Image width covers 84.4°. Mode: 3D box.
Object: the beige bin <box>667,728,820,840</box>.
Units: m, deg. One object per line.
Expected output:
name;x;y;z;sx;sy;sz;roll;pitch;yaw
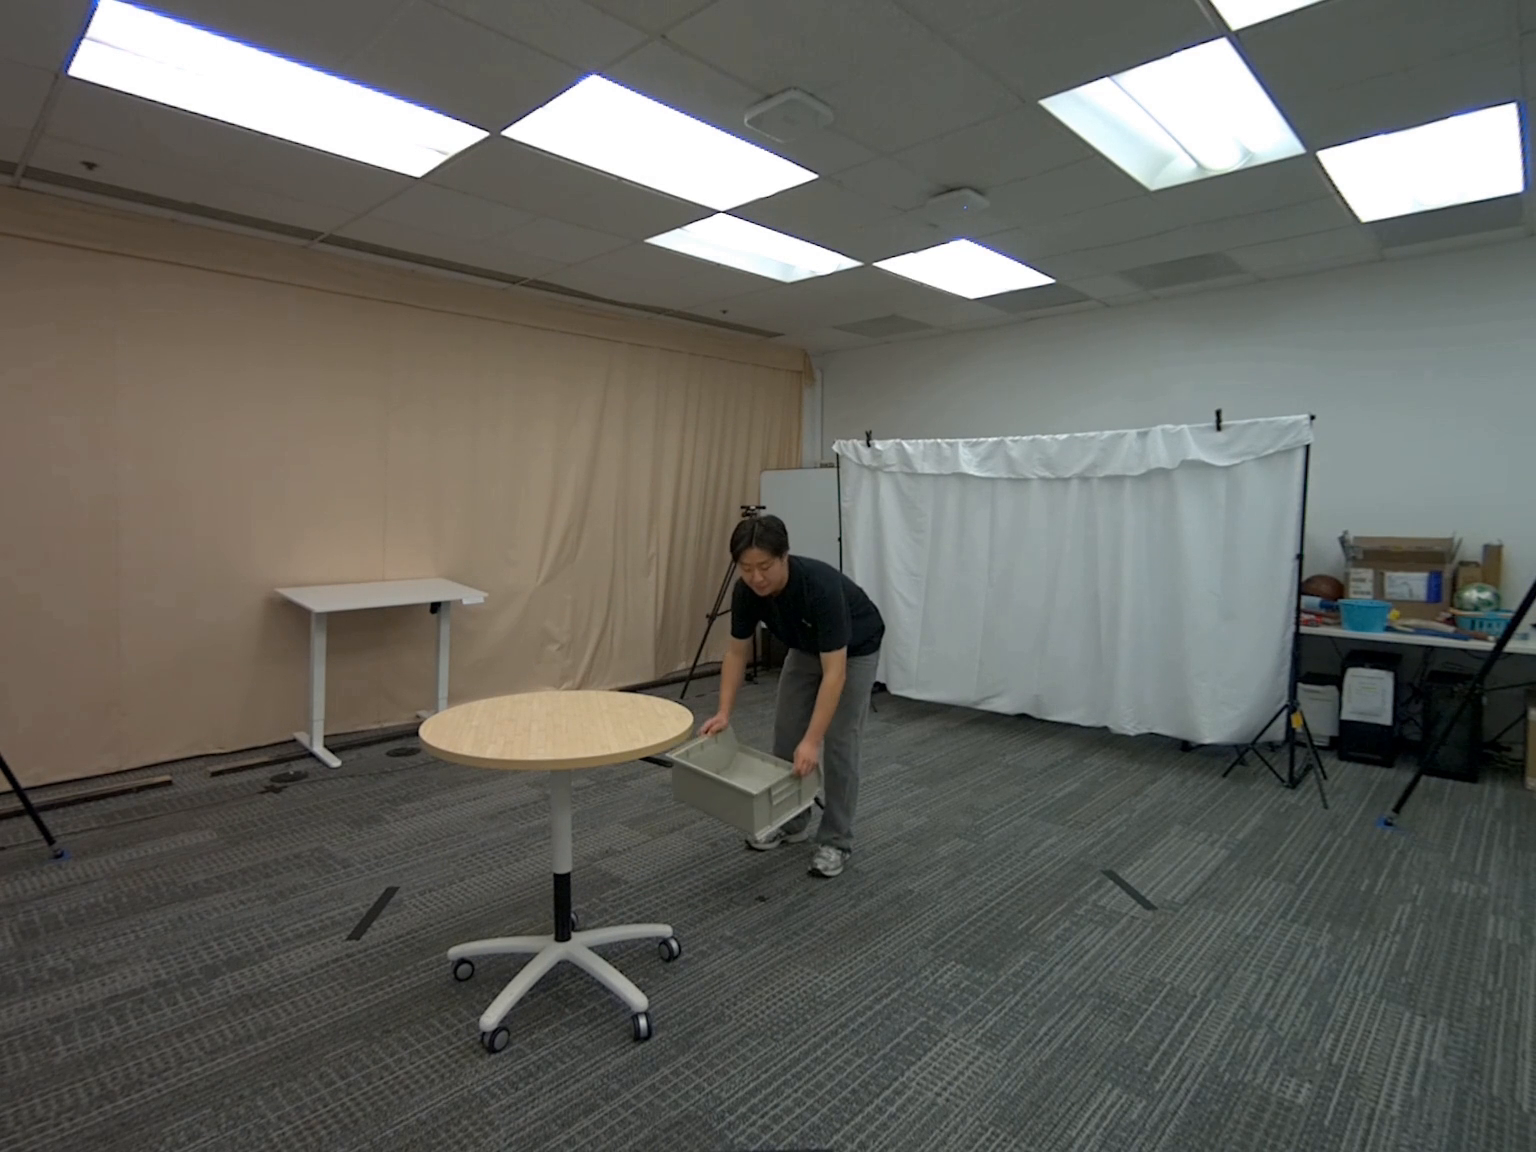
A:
beige bin;-0.084;0.713;2.987;0.437;0.187;0.368;11;20;40
